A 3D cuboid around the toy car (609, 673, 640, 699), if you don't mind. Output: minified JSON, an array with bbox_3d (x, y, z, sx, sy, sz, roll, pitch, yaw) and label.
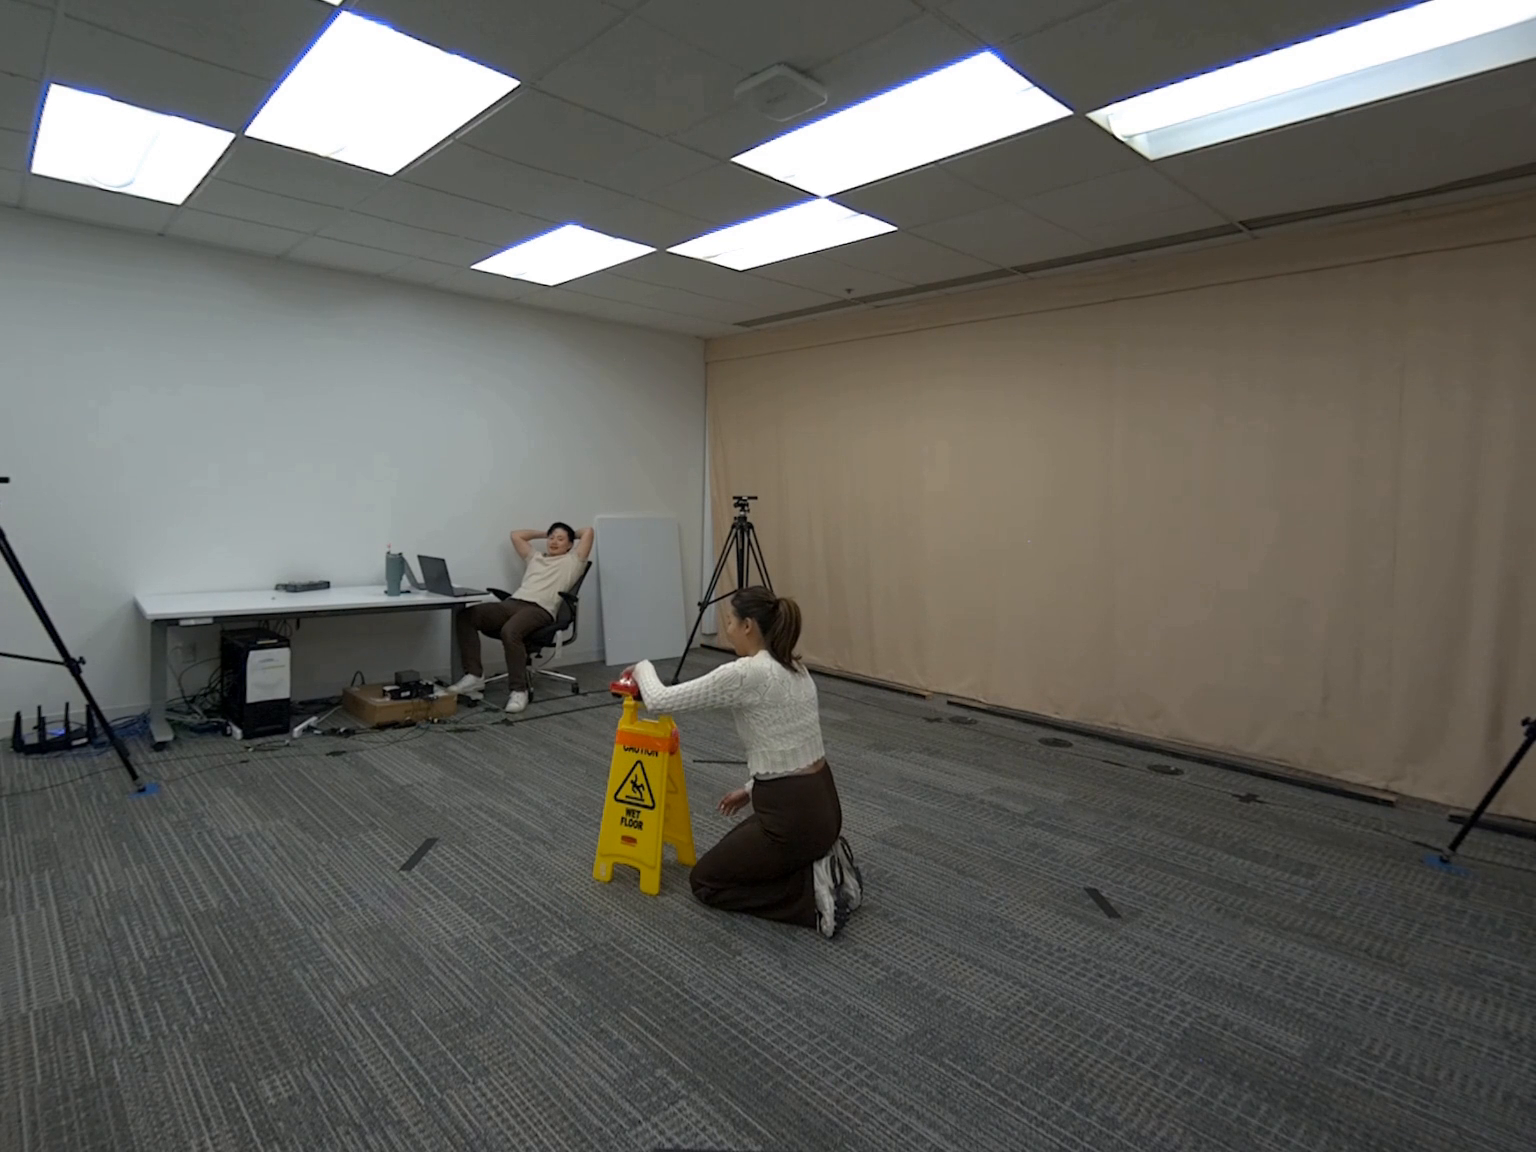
[{"bbox_3d":[-0.487,0.416,3.033,0.132,0.084,0.248,6,-16,19],"label":"toy car"}]
